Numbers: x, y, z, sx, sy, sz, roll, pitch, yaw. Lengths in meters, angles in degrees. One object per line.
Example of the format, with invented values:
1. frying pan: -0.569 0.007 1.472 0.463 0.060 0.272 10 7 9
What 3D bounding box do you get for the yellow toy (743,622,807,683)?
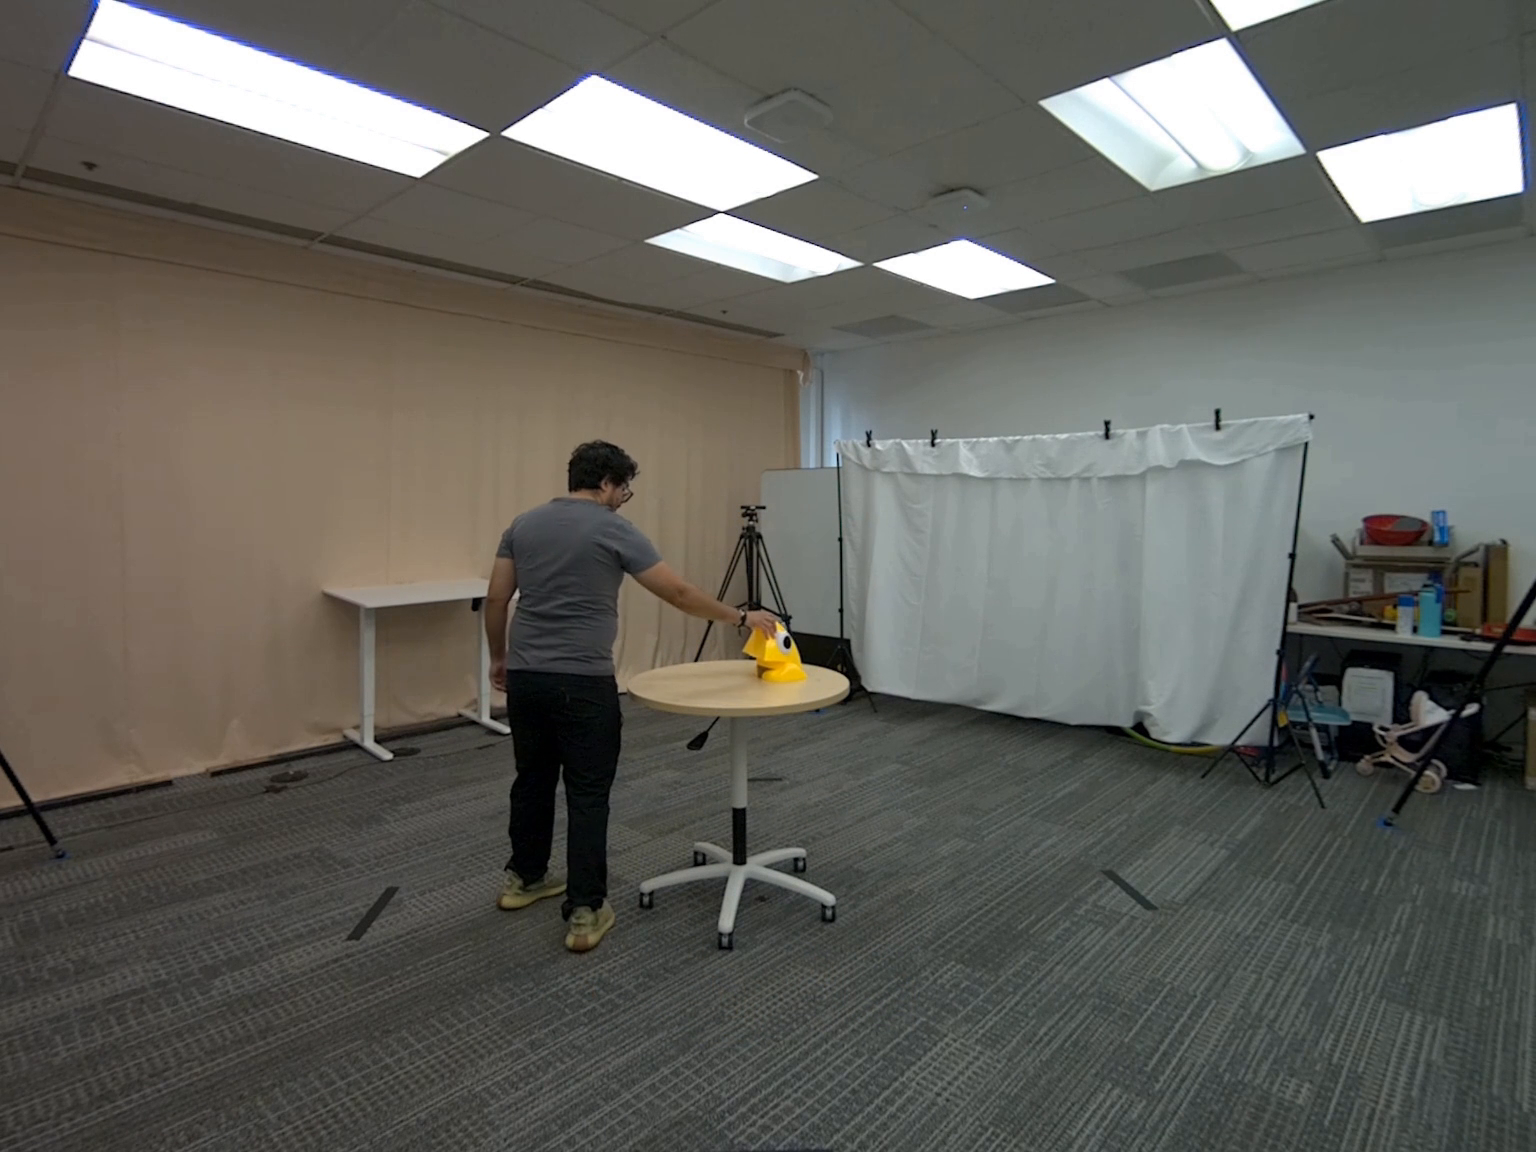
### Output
1. yellow toy: 0.024 0.241 2.989 0.189 0.230 0.210 -3 4 -23
